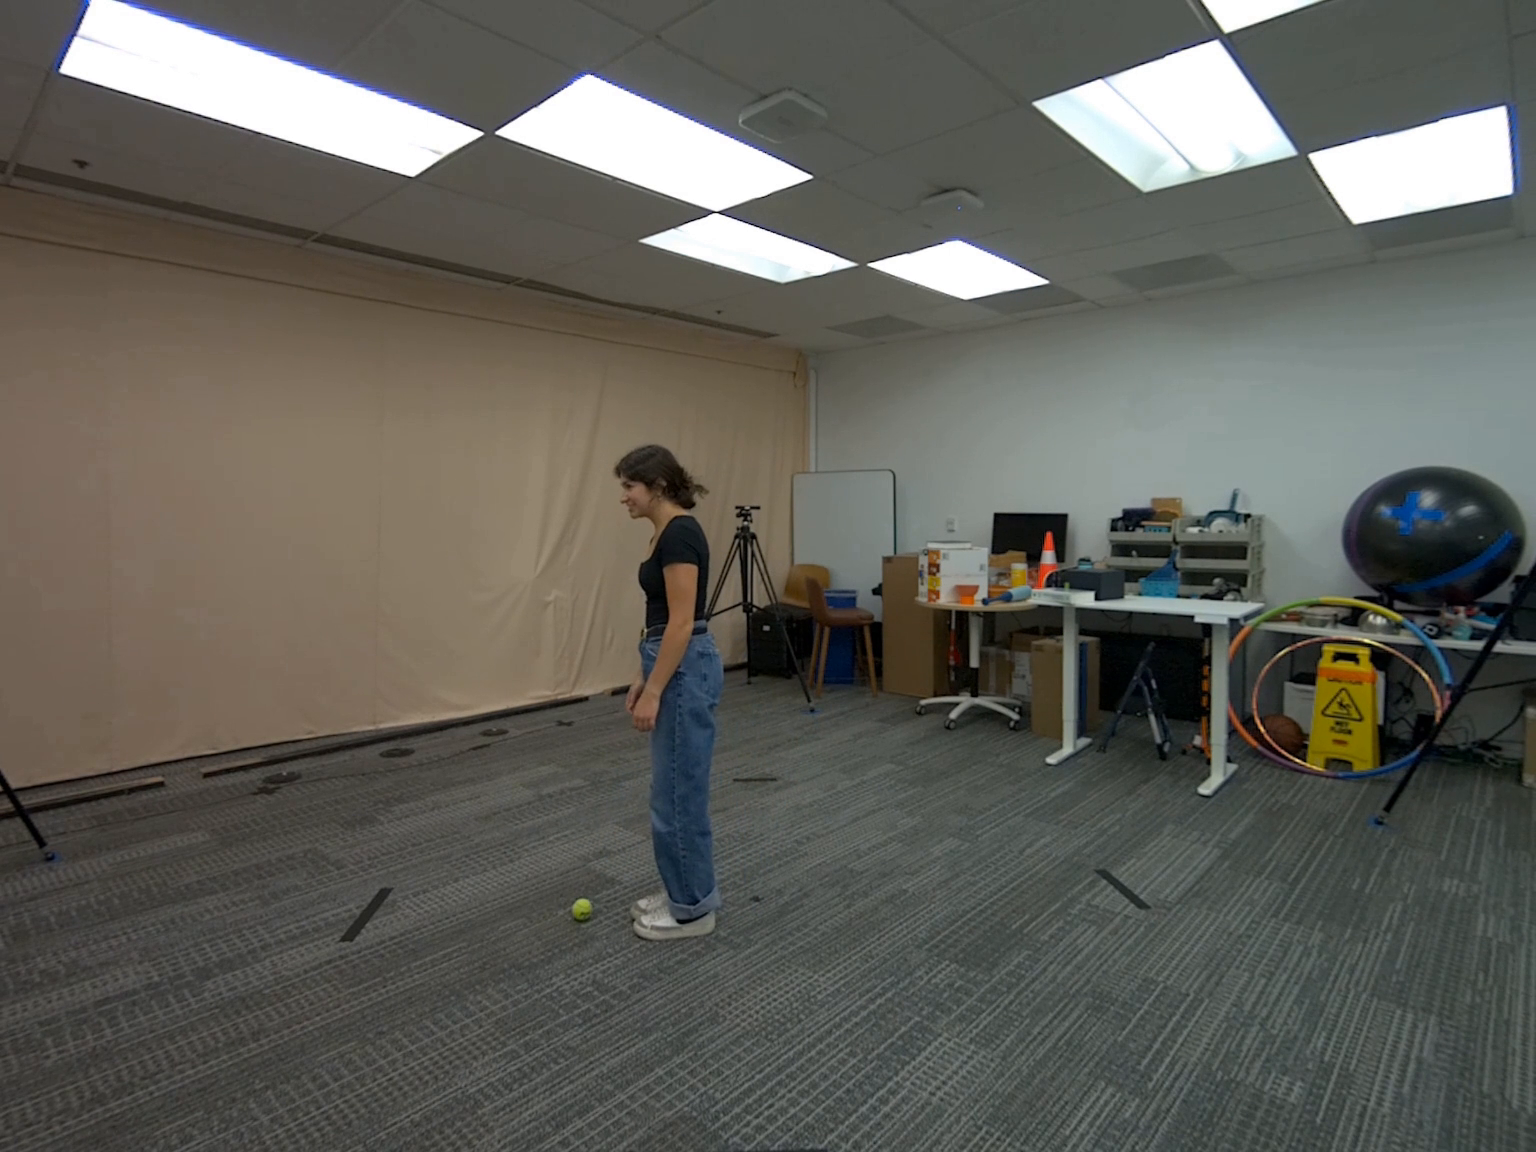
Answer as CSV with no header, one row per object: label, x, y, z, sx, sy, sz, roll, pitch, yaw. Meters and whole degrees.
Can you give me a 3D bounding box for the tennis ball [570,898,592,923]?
tennis ball,-0.627,1.127,2.844,0.066,0.066,0.067,0,4,-2
